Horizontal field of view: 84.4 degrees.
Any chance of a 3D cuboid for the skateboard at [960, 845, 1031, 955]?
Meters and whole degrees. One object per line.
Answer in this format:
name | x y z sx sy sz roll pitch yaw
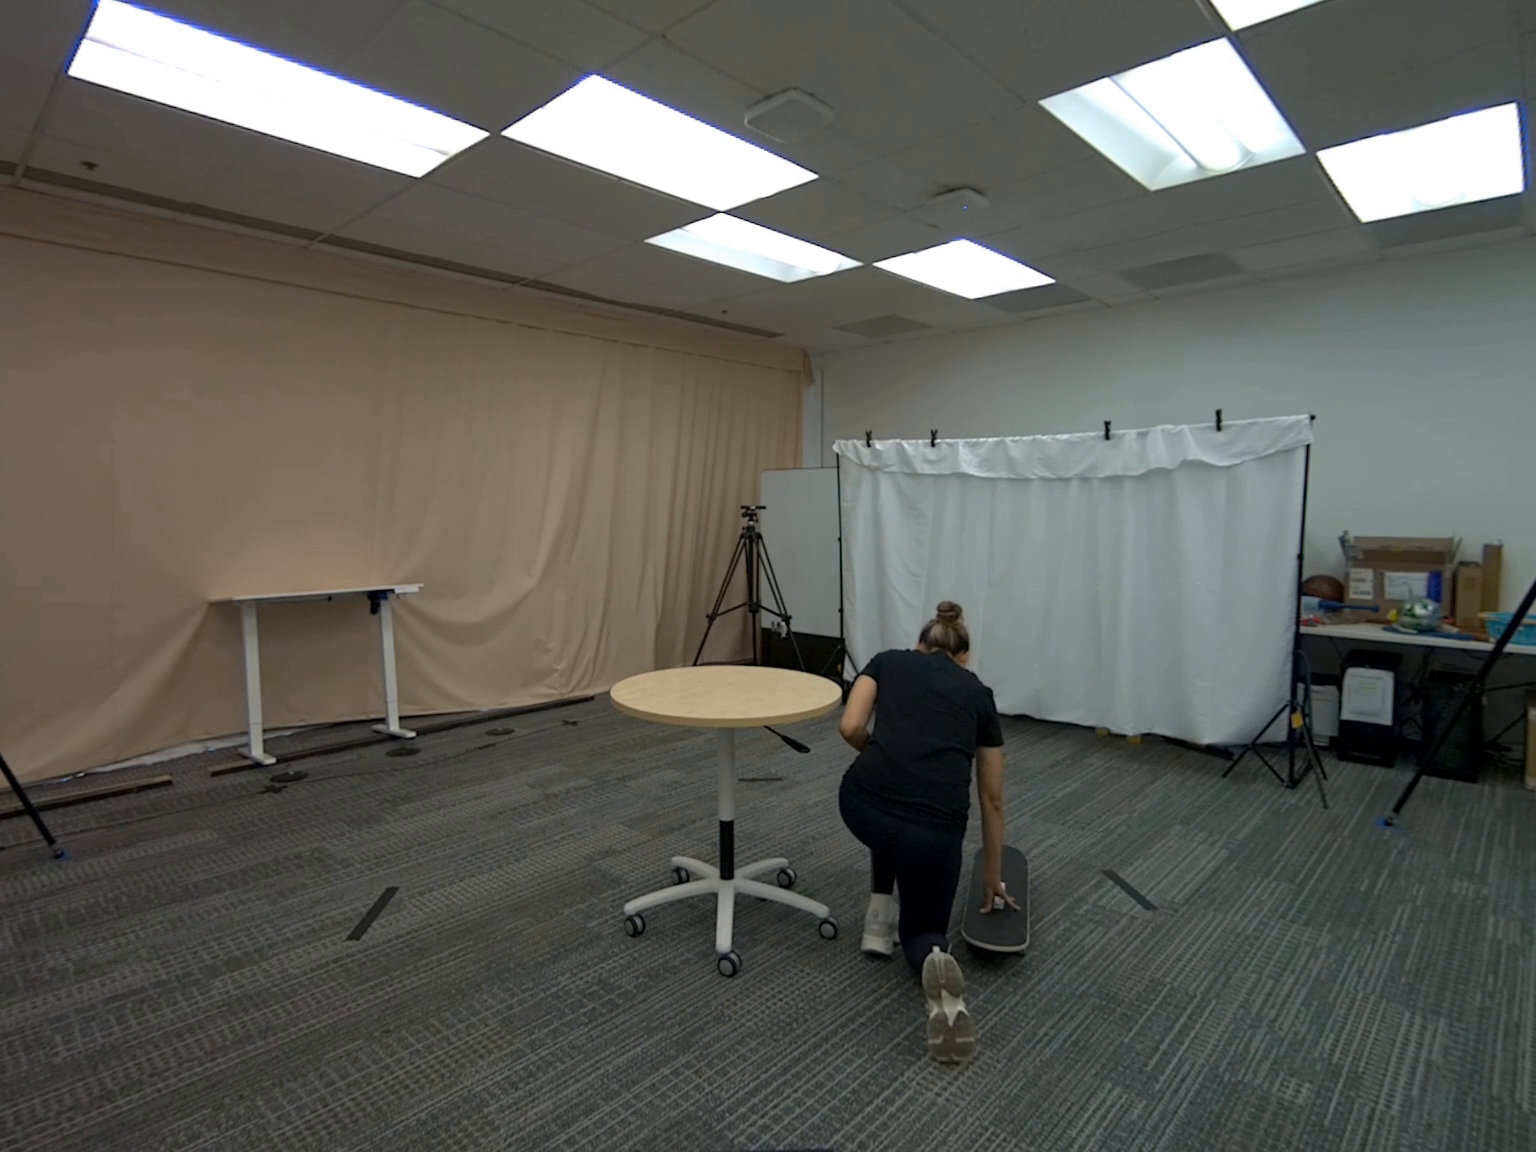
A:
skateboard | 0.782 1.105 2.822 0.197 0.110 0.773 0 6 16
